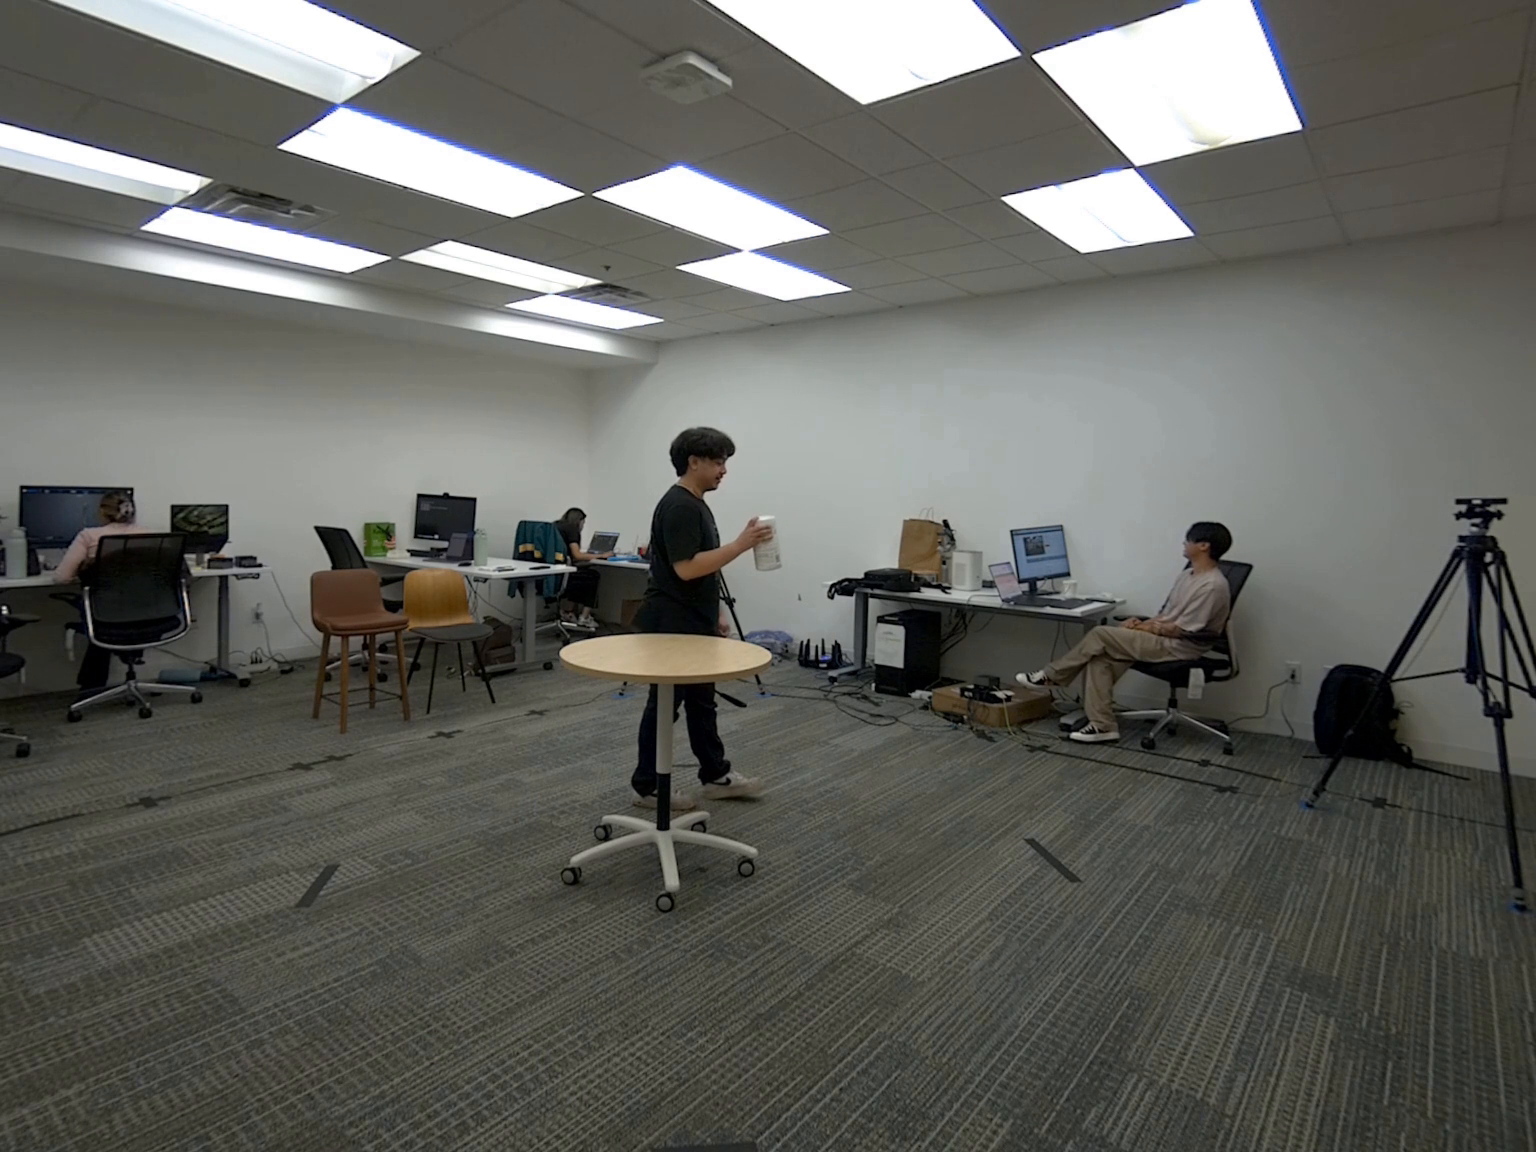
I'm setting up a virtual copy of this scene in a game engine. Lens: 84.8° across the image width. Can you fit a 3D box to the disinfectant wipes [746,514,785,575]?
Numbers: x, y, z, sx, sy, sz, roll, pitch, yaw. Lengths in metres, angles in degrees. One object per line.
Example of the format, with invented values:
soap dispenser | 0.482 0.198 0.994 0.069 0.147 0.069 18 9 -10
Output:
disinfectant wipes | -0.015 -0.133 3.493 0.118 0.216 0.119 -9 8 0
